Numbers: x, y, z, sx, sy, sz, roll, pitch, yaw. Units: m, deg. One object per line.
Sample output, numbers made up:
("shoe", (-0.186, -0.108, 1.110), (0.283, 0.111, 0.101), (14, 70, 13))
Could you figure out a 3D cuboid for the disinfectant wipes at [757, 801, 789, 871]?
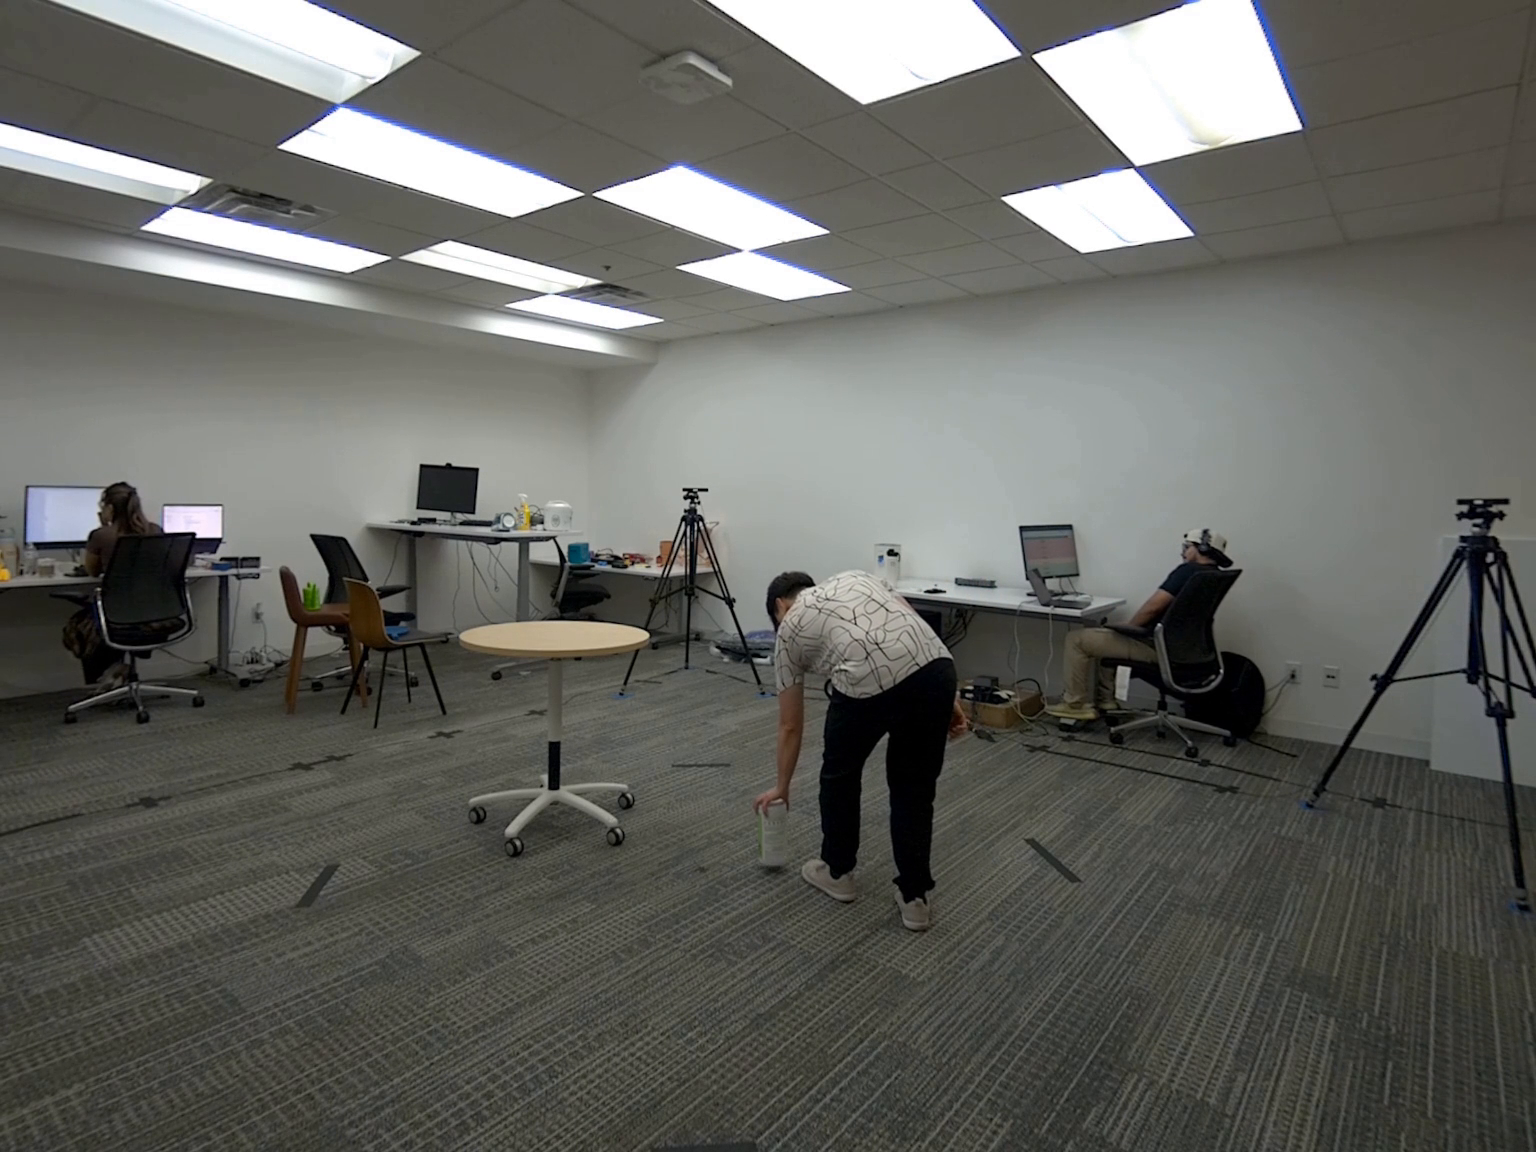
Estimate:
("disinfectant wipes", (0.013, 0.936, 3.122), (0.118, 0.217, 0.118), (-1, 3, -2))
